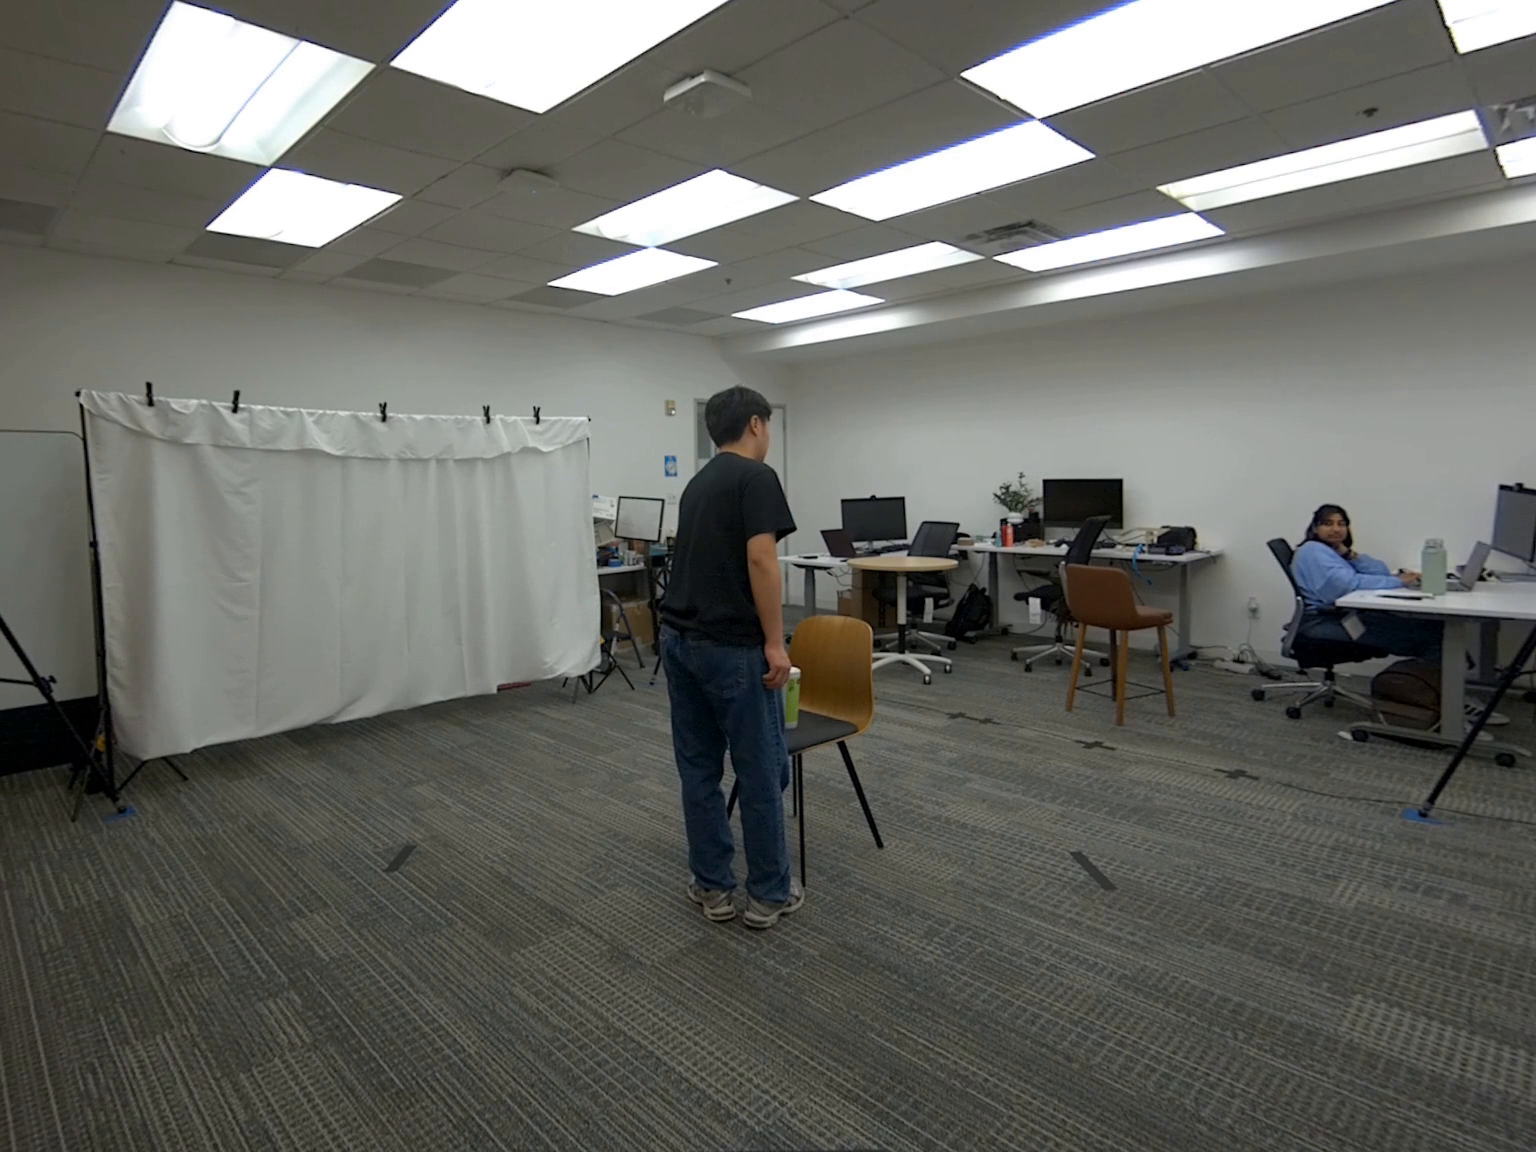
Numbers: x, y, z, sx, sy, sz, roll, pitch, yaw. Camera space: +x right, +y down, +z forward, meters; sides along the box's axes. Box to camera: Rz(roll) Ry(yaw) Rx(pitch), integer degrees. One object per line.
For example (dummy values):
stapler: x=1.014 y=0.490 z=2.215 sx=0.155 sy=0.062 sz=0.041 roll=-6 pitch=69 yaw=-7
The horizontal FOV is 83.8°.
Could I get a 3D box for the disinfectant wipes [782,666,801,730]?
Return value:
disinfectant wipes: x=0.062 y=0.451 z=3.172 sx=0.118 sy=0.217 sz=0.118 roll=2 pitch=3 yaw=-2
